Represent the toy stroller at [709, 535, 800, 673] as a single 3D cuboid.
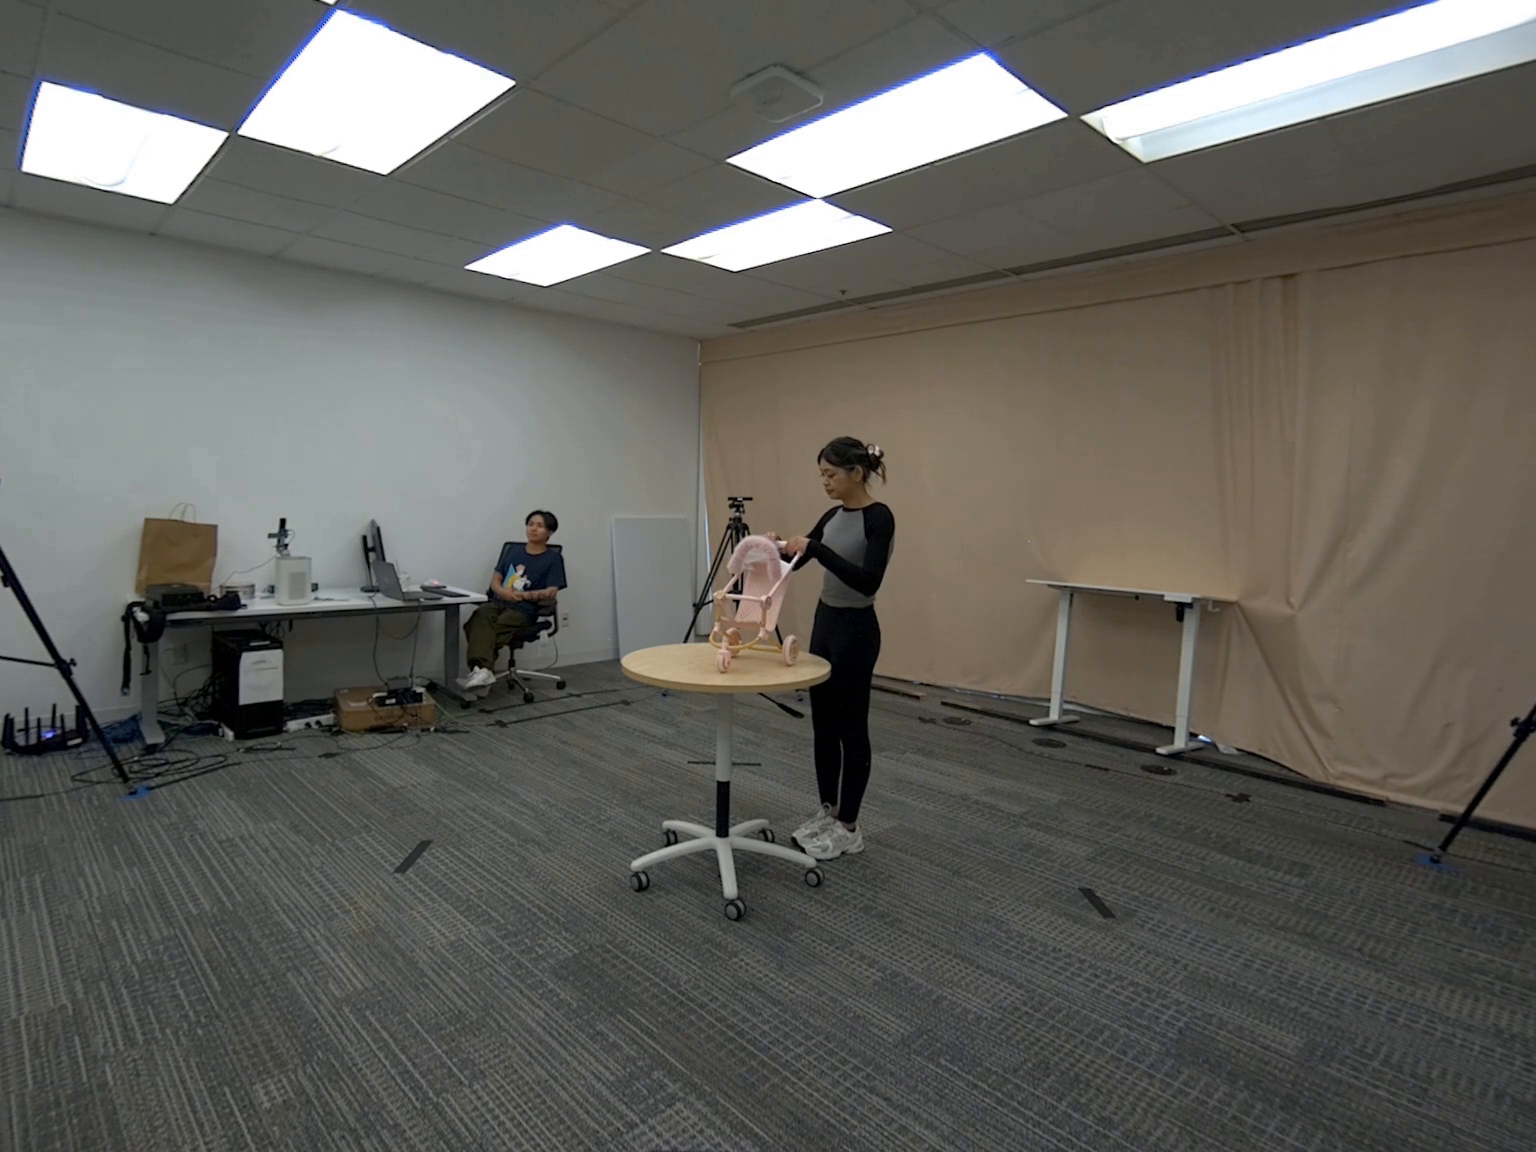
[{"bbox_3d":[-0.061,0.095,3.046,0.288,0.537,0.331,4,-9,35],"label":"toy stroller"}]
